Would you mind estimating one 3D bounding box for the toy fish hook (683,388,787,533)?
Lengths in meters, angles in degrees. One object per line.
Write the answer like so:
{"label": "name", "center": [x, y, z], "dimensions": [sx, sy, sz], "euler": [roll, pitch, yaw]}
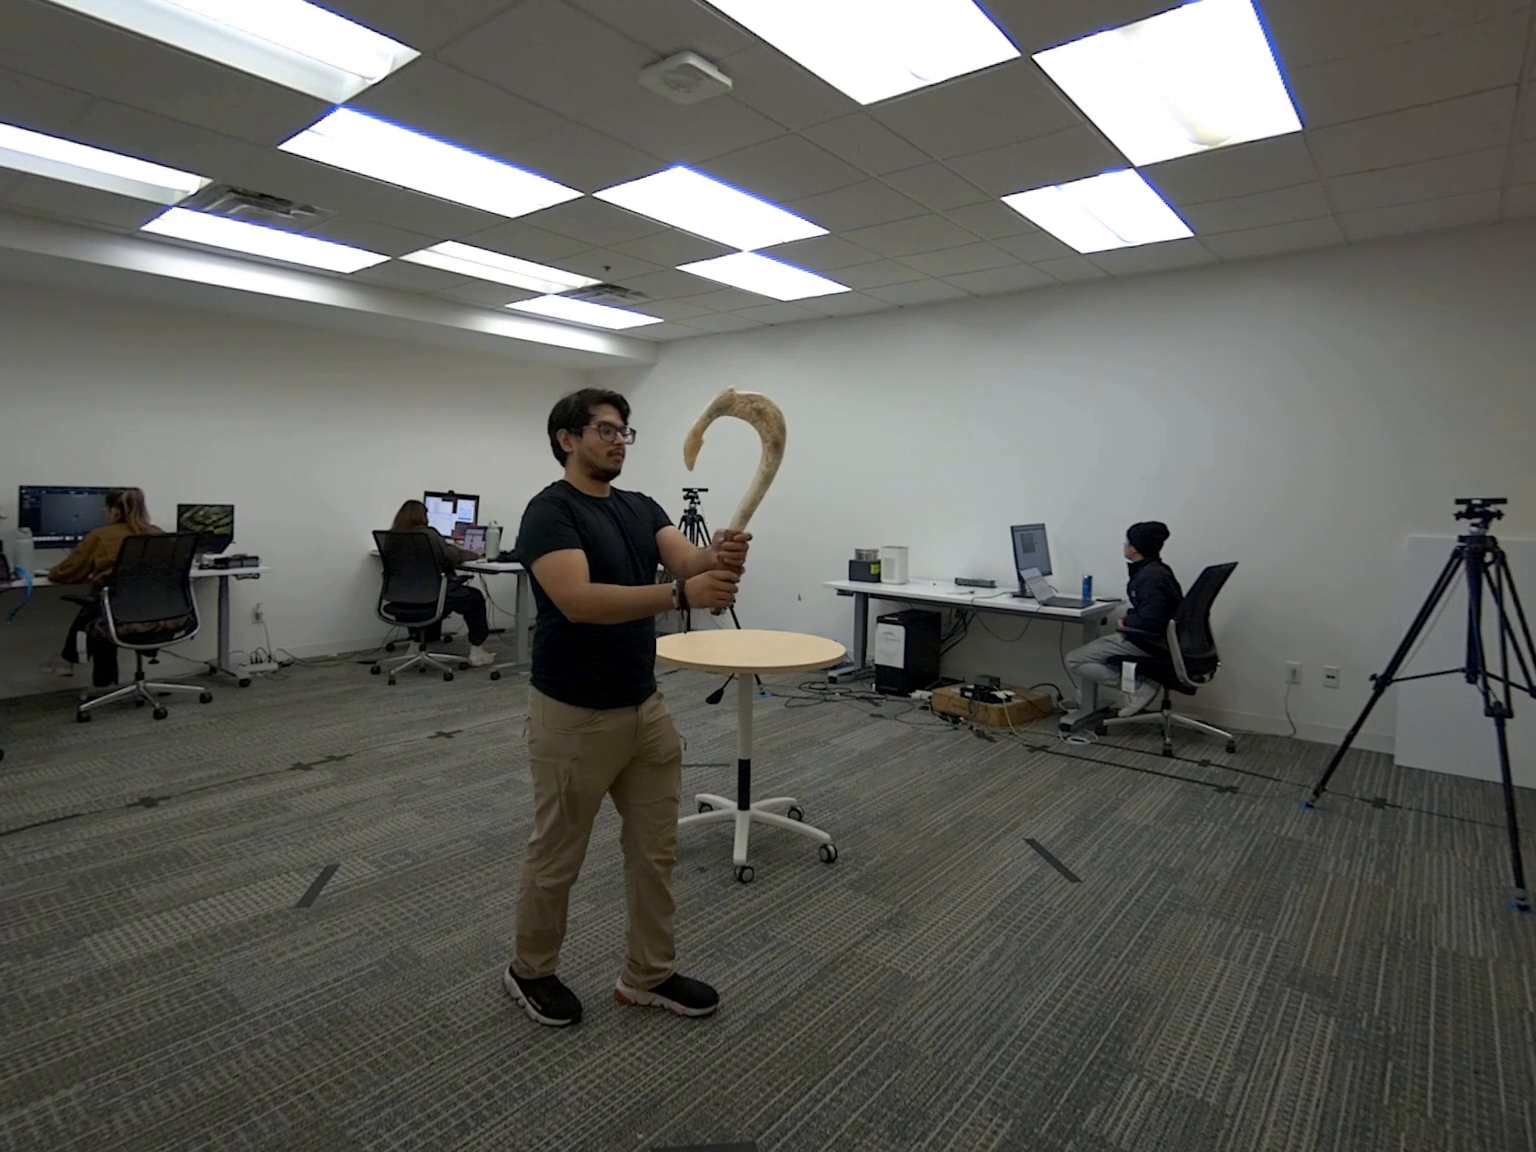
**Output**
{"label": "toy fish hook", "center": [-0.106, -0.160, 1.883], "dimensions": [0.221, 0.504, 0.049], "euler": [12, 8, -14]}
